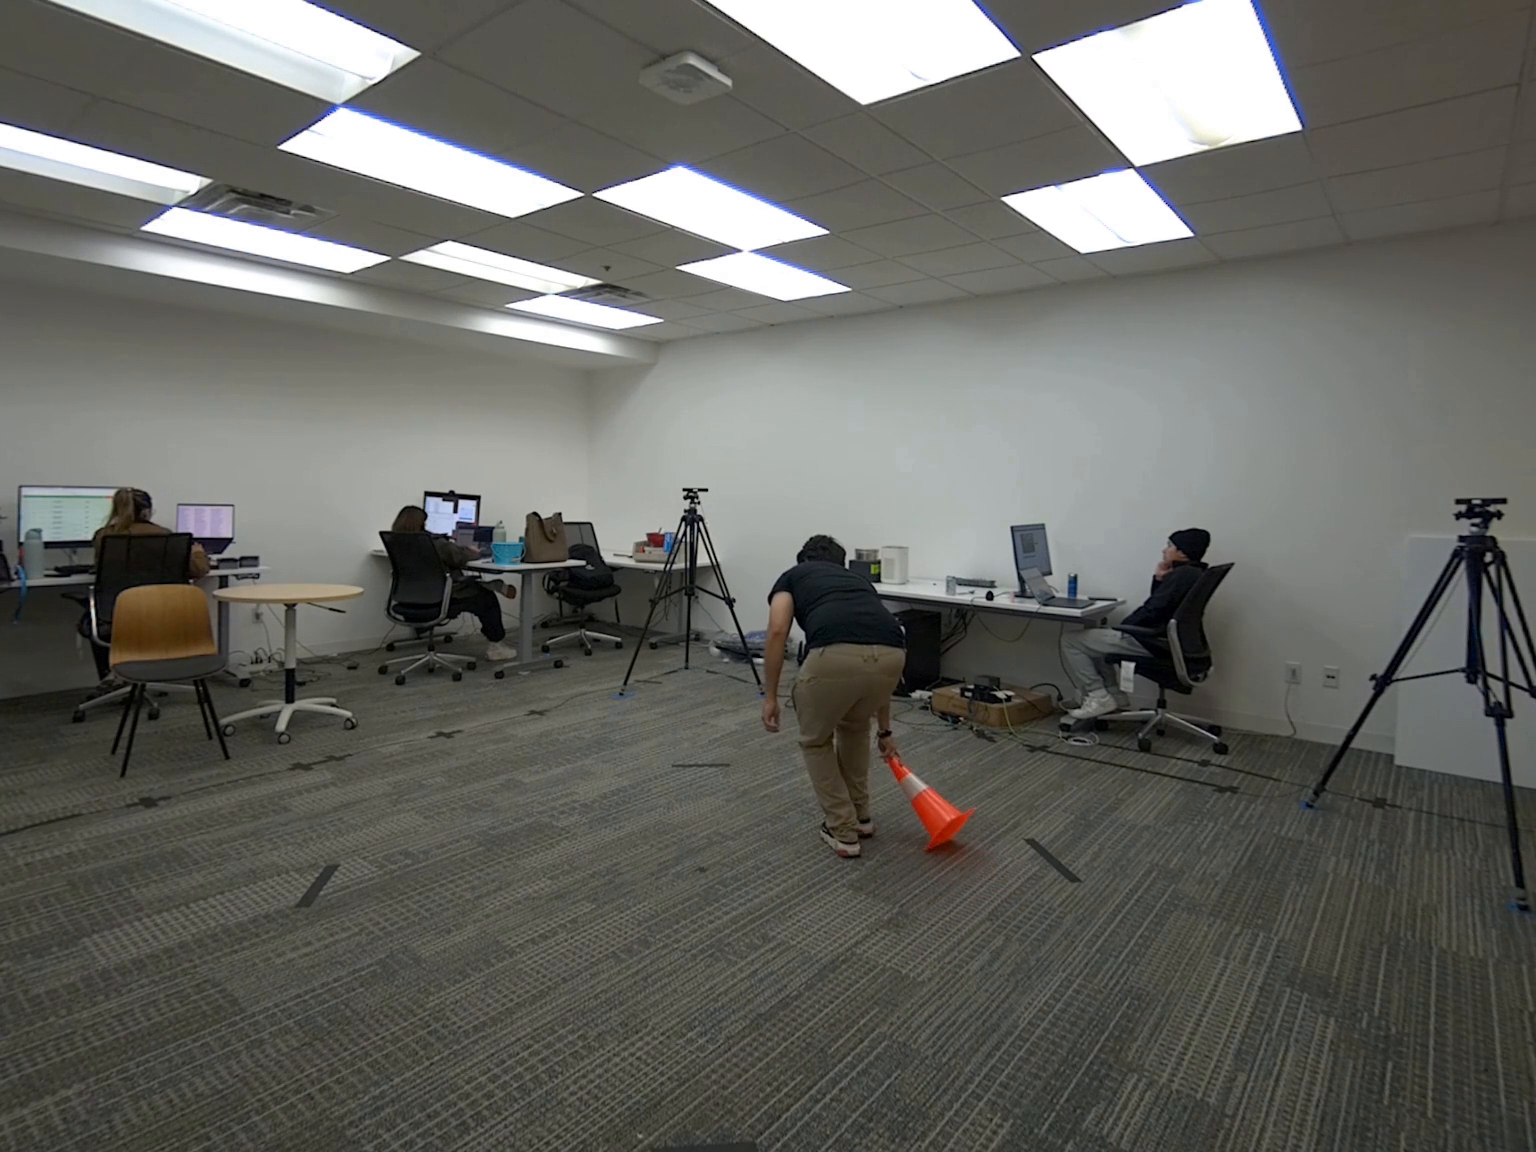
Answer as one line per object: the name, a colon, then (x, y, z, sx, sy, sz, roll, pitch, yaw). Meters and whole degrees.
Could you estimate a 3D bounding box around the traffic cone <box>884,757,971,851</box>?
traffic cone: (0.596, 0.871, 3.437, 0.197, 0.203, 0.399, -2, 41, -45)
